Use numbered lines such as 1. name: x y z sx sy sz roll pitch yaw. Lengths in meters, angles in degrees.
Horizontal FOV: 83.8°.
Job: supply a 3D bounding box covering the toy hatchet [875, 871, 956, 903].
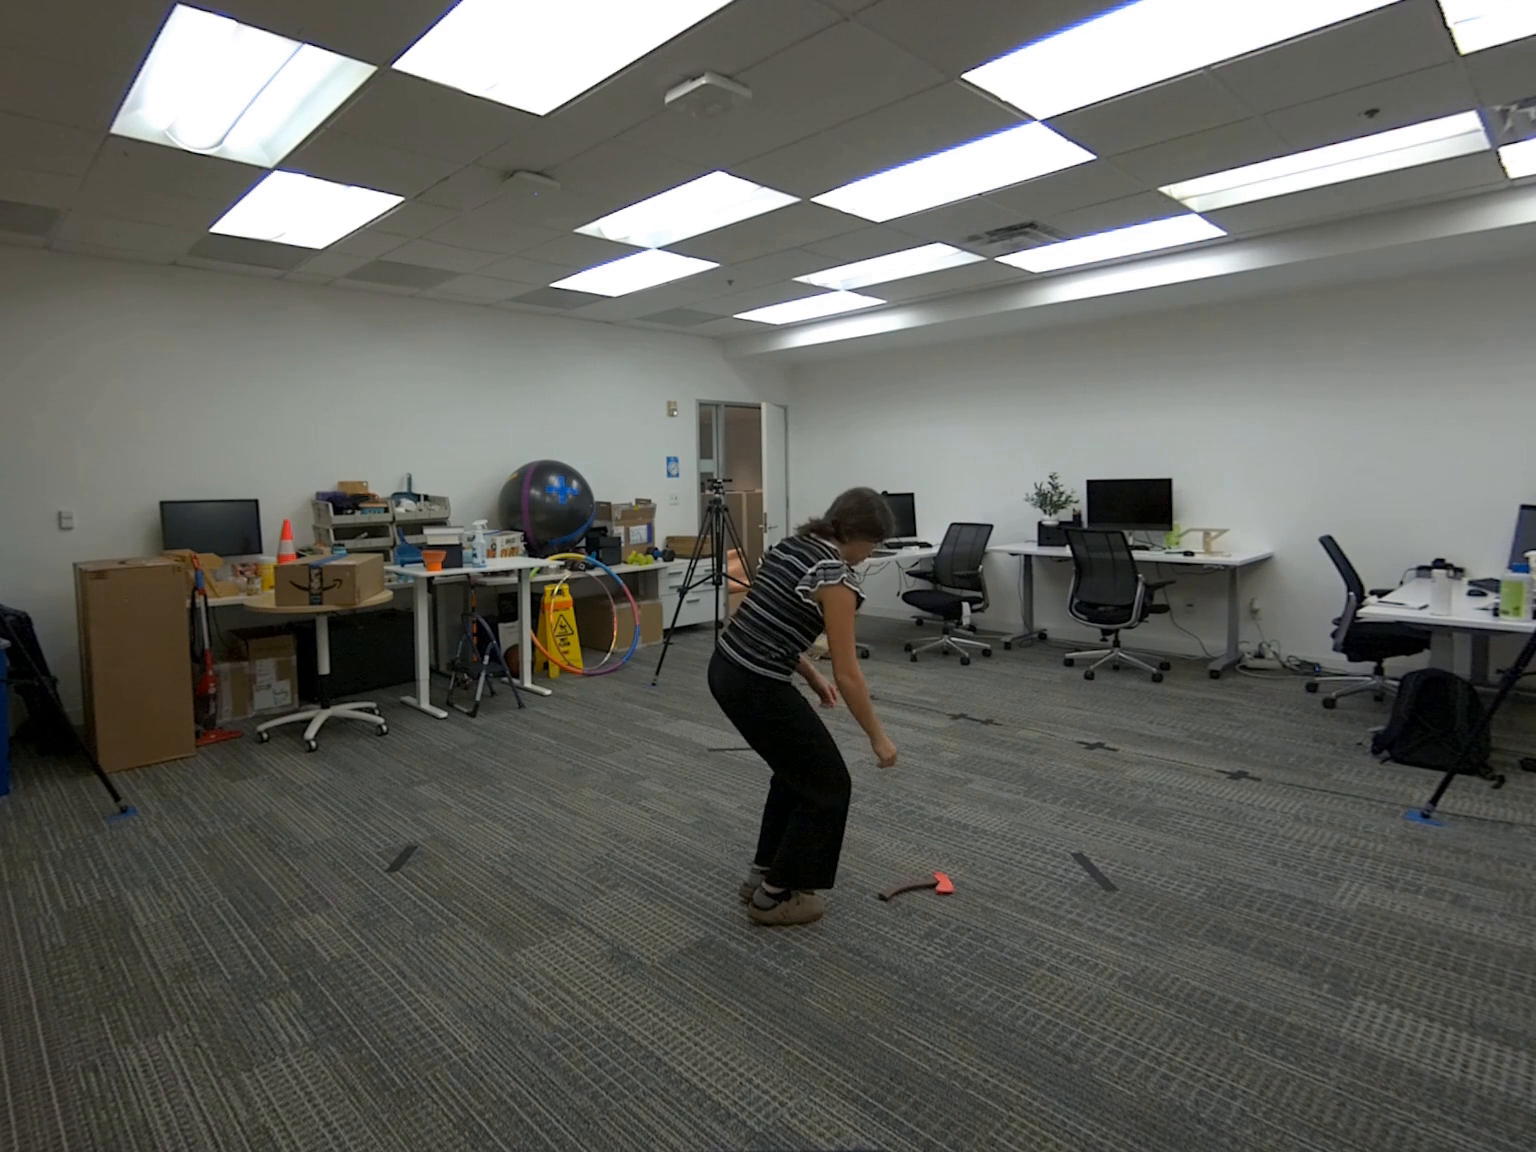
1. toy hatchet: 0.513 1.050 2.856 0.264 0.029 0.135 -10 13 -35
